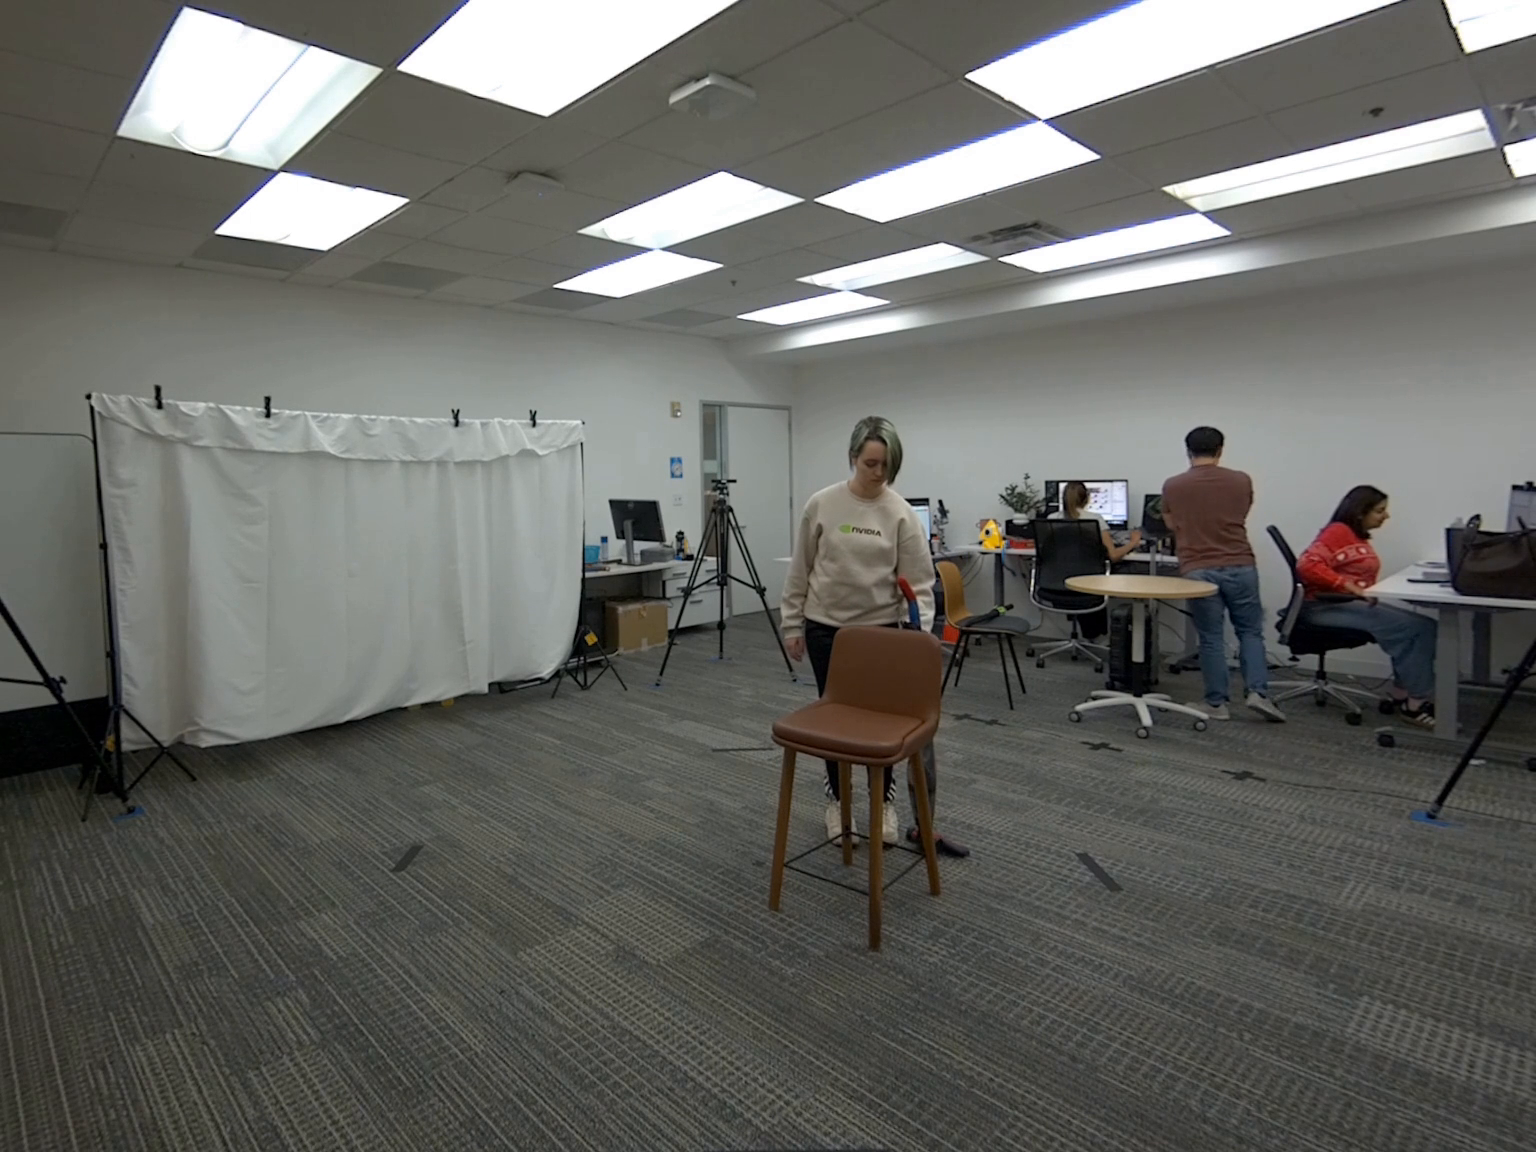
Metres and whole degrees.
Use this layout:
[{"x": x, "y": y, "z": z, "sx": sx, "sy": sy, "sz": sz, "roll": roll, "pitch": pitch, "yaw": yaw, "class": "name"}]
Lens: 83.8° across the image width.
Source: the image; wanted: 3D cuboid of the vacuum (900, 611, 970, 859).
[{"x": 0.551, "y": 0.518, "z": 3.074, "sx": 0.260, "sy": 1.034, "sz": 0.142, "roll": 5, "pitch": 18, "yaw": 37, "class": "vacuum"}]
